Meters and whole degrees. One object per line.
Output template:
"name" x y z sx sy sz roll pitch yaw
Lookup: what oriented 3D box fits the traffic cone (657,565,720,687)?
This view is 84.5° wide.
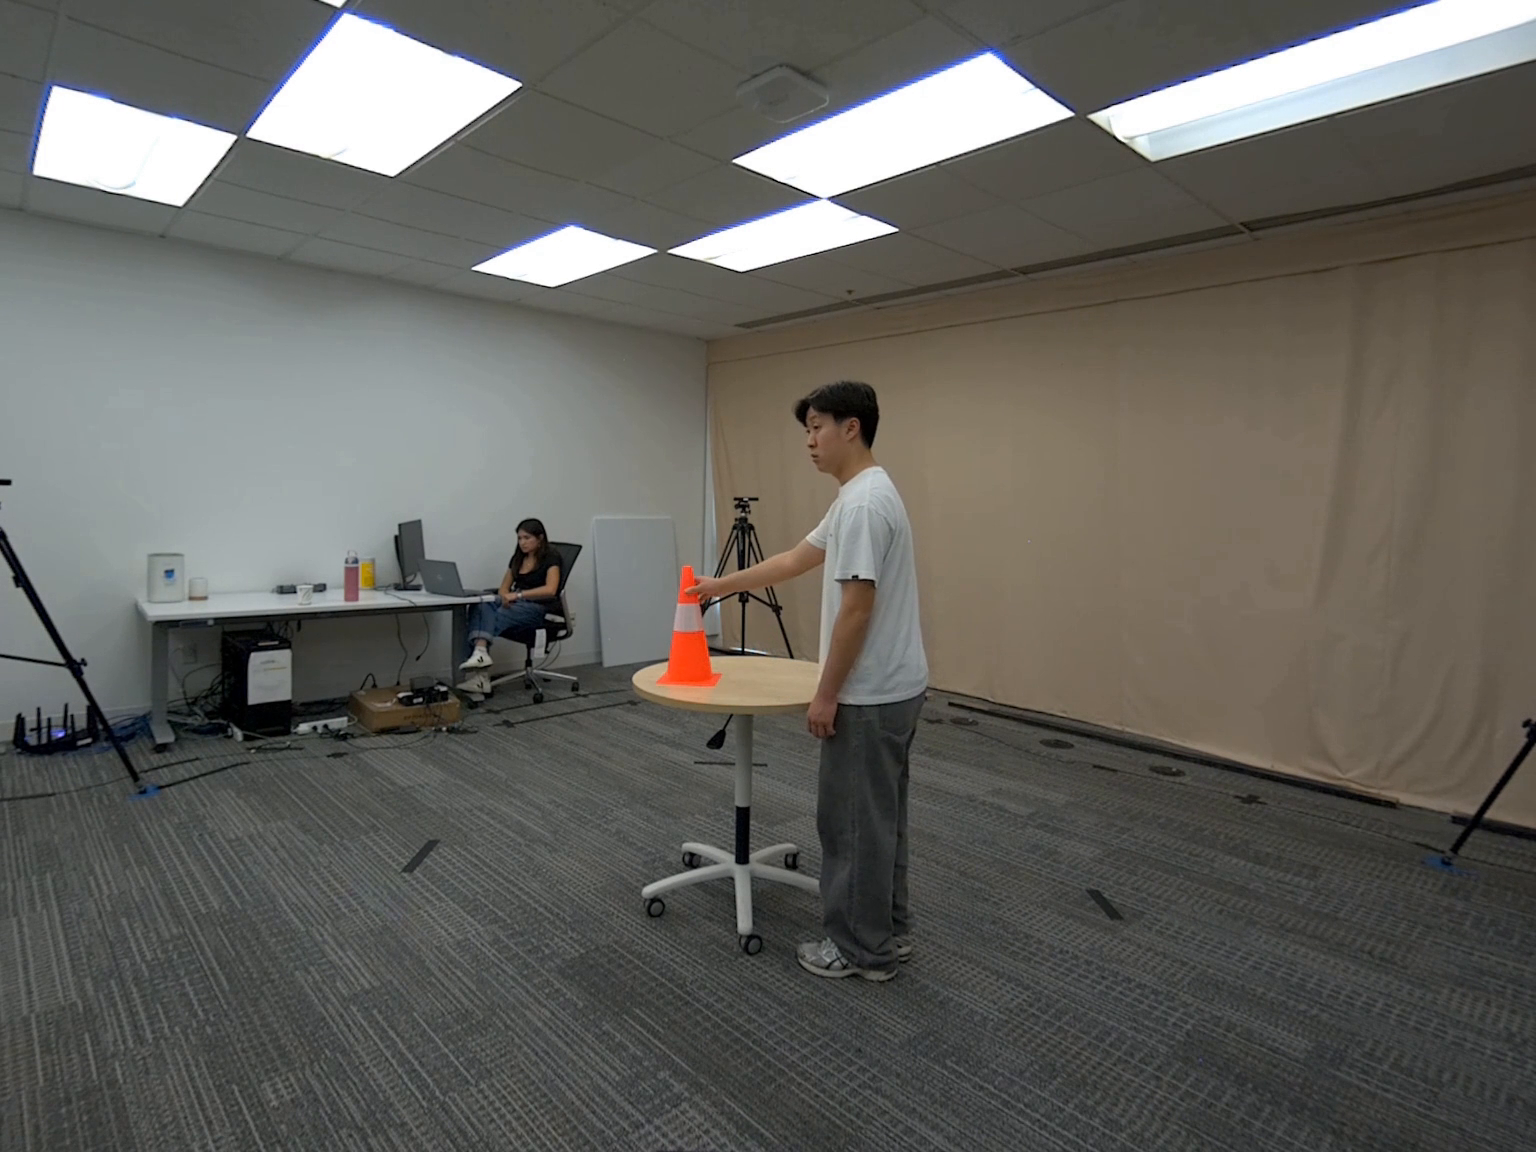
"traffic cone" -0.272 0.163 2.825 0.204 0.383 0.204 0 3 5
